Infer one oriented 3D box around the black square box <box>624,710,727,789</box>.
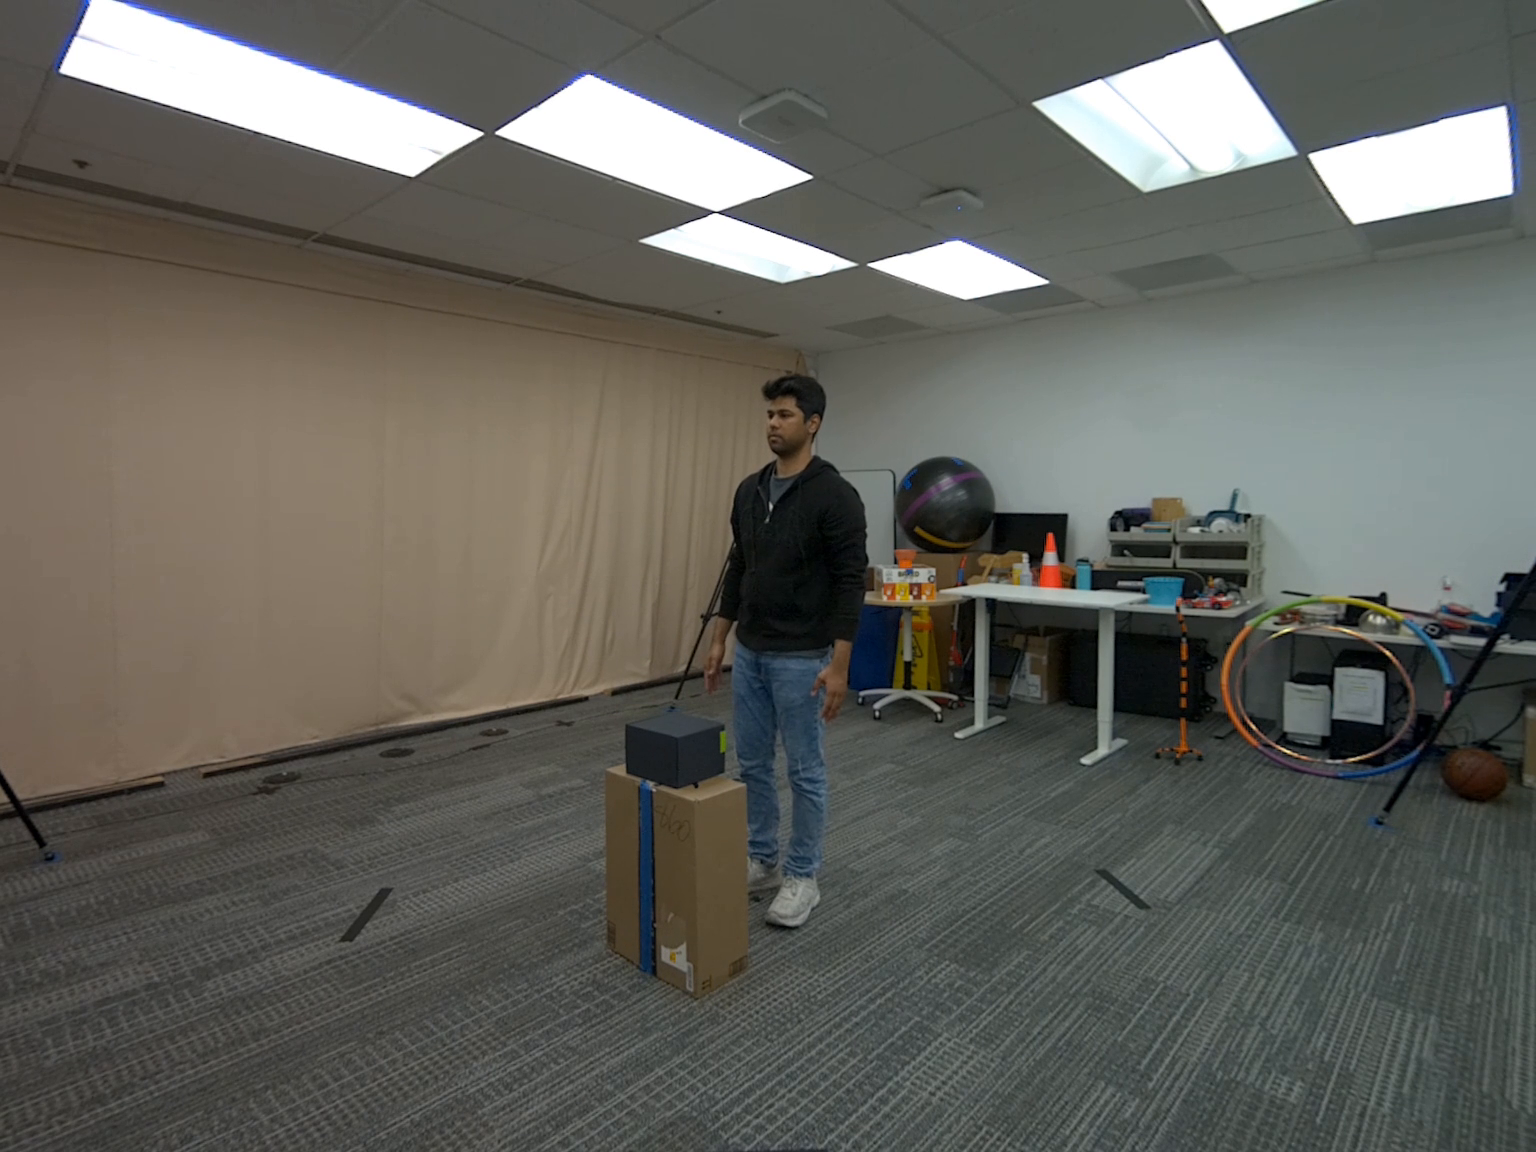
[{"bbox_3d":[-0.282,0.531,2.603,0.235,0.155,0.210,3,5,40],"label":"black square box"}]
